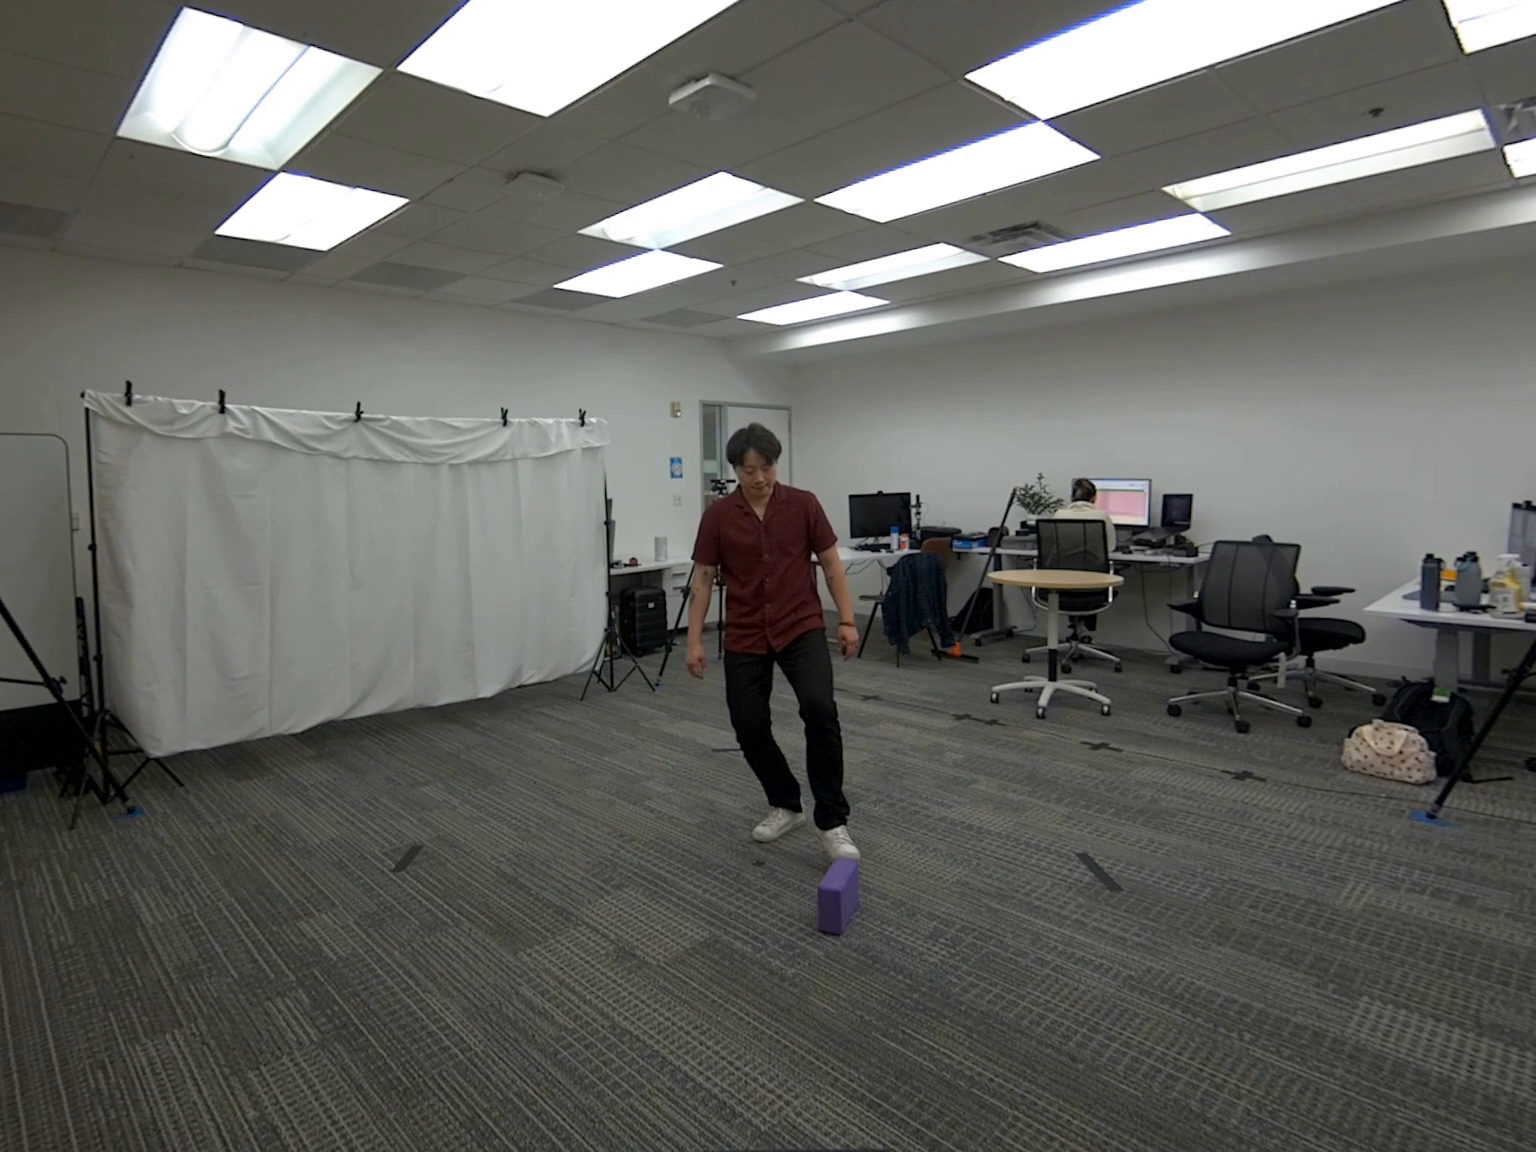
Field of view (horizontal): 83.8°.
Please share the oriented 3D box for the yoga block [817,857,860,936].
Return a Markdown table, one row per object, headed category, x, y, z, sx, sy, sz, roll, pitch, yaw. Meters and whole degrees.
| category | x | y | z | sx | sy | sz | roll | pitch | yaw |
| --- | --- | --- | --- | --- | --- | --- | --- | --- | --- |
| yoga block | 0.229 | 1.010 | 2.719 | 0.078 | 0.148 | 0.226 | 1 | 6 | 20 |
